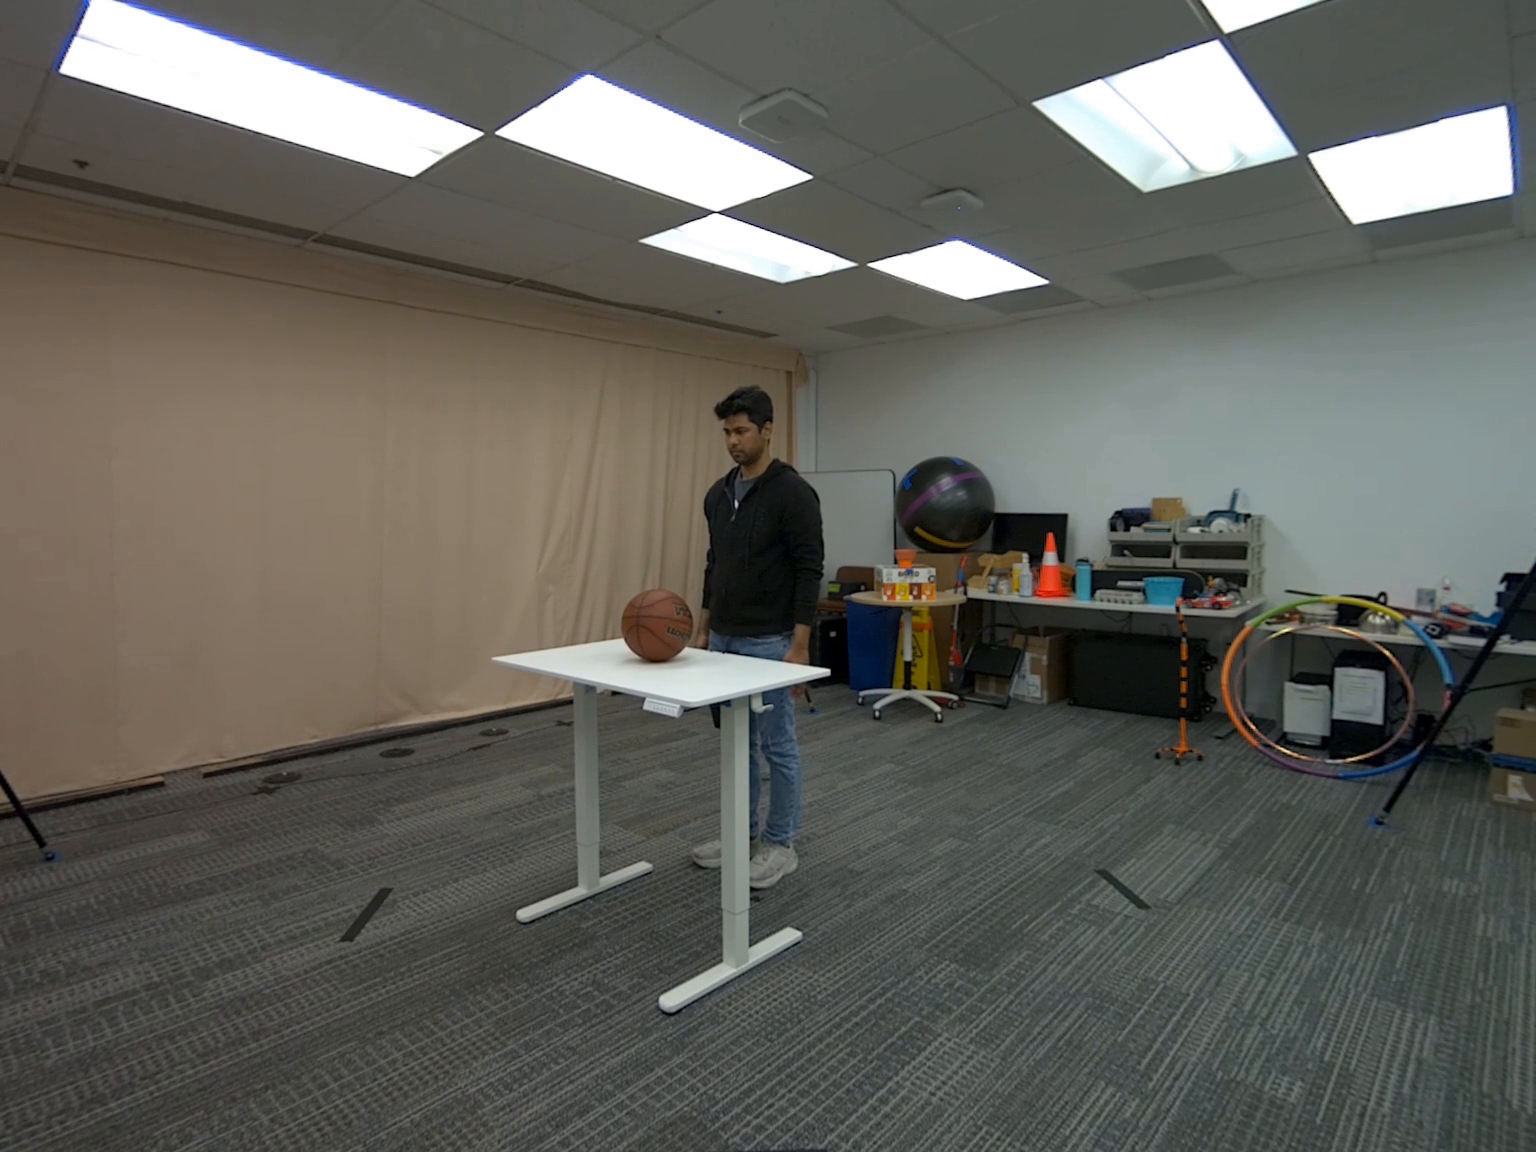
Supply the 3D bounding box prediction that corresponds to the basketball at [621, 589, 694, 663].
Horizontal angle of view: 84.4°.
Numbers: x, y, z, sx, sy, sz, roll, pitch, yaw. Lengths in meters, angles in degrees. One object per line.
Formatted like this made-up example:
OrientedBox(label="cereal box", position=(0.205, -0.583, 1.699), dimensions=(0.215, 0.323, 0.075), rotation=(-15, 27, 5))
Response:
OrientedBox(label="basketball", position=(-0.370, 0.165, 2.784), dimensions=(0.236, 0.235, 0.237), rotation=(0, 4, -2))
